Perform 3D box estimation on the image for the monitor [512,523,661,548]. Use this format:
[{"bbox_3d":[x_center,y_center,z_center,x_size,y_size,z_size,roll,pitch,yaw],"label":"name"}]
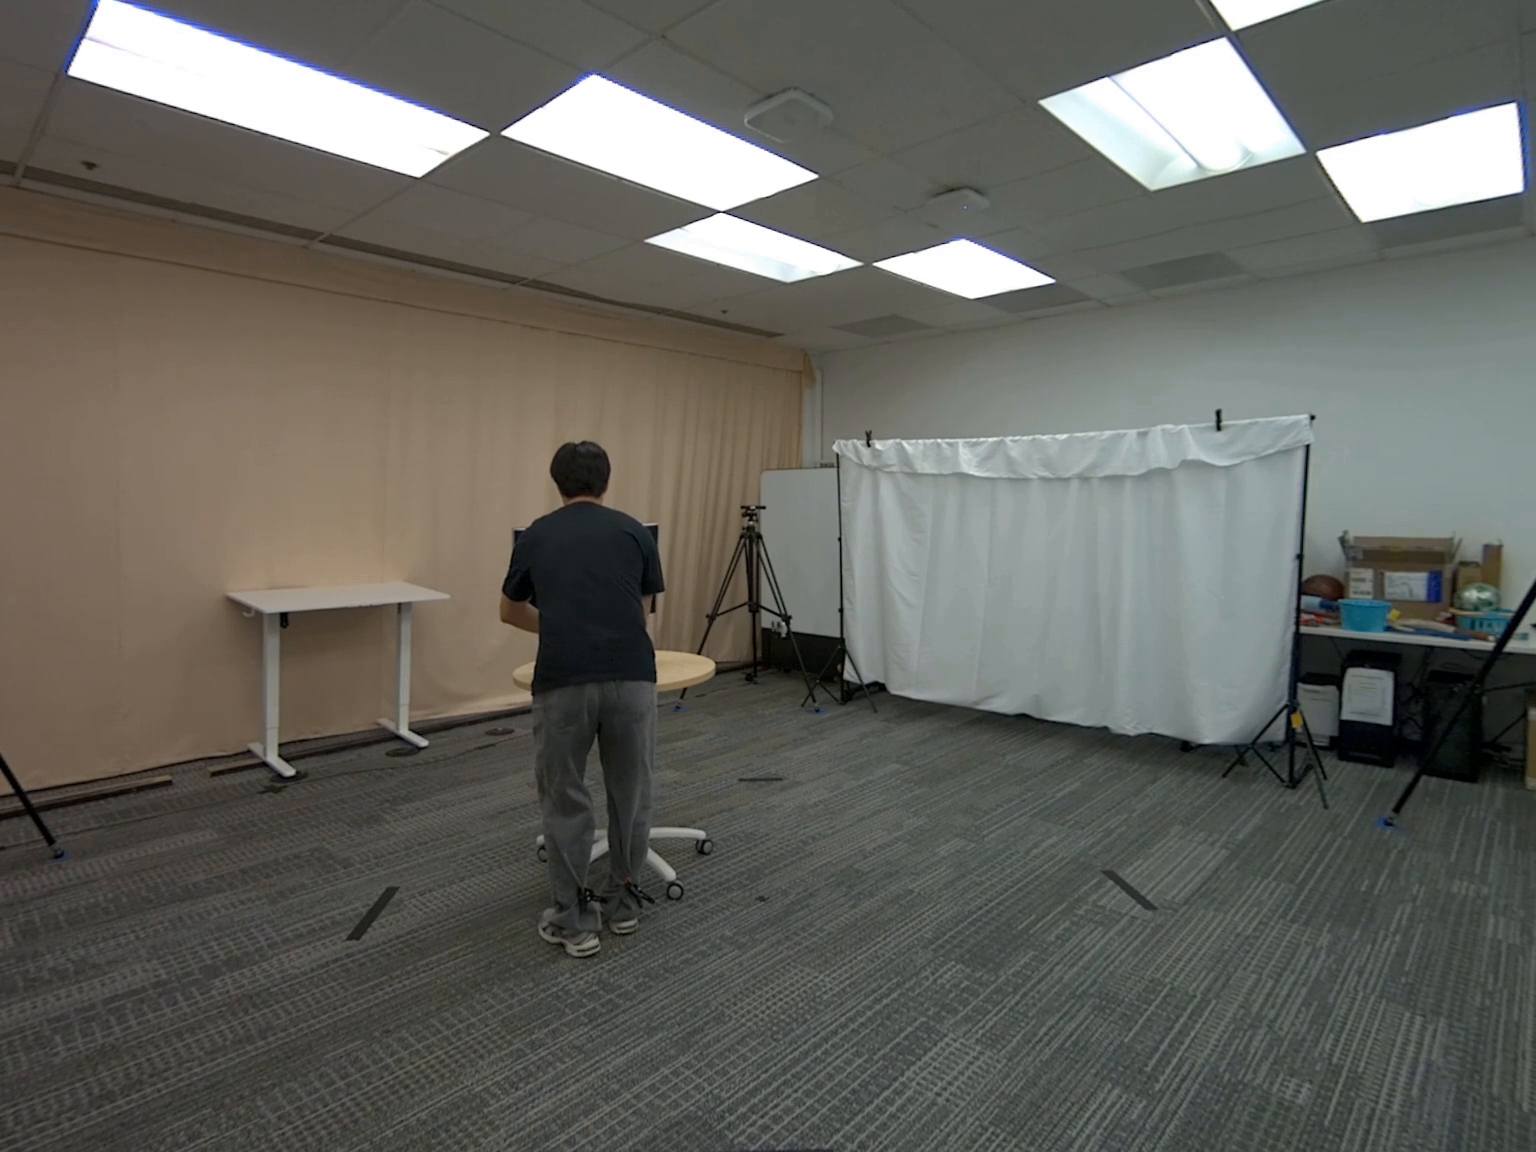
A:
[{"bbox_3d":[-0.670,0.091,3.152,0.550,0.566,0.227,-2,-1,-22],"label":"monitor"}]
